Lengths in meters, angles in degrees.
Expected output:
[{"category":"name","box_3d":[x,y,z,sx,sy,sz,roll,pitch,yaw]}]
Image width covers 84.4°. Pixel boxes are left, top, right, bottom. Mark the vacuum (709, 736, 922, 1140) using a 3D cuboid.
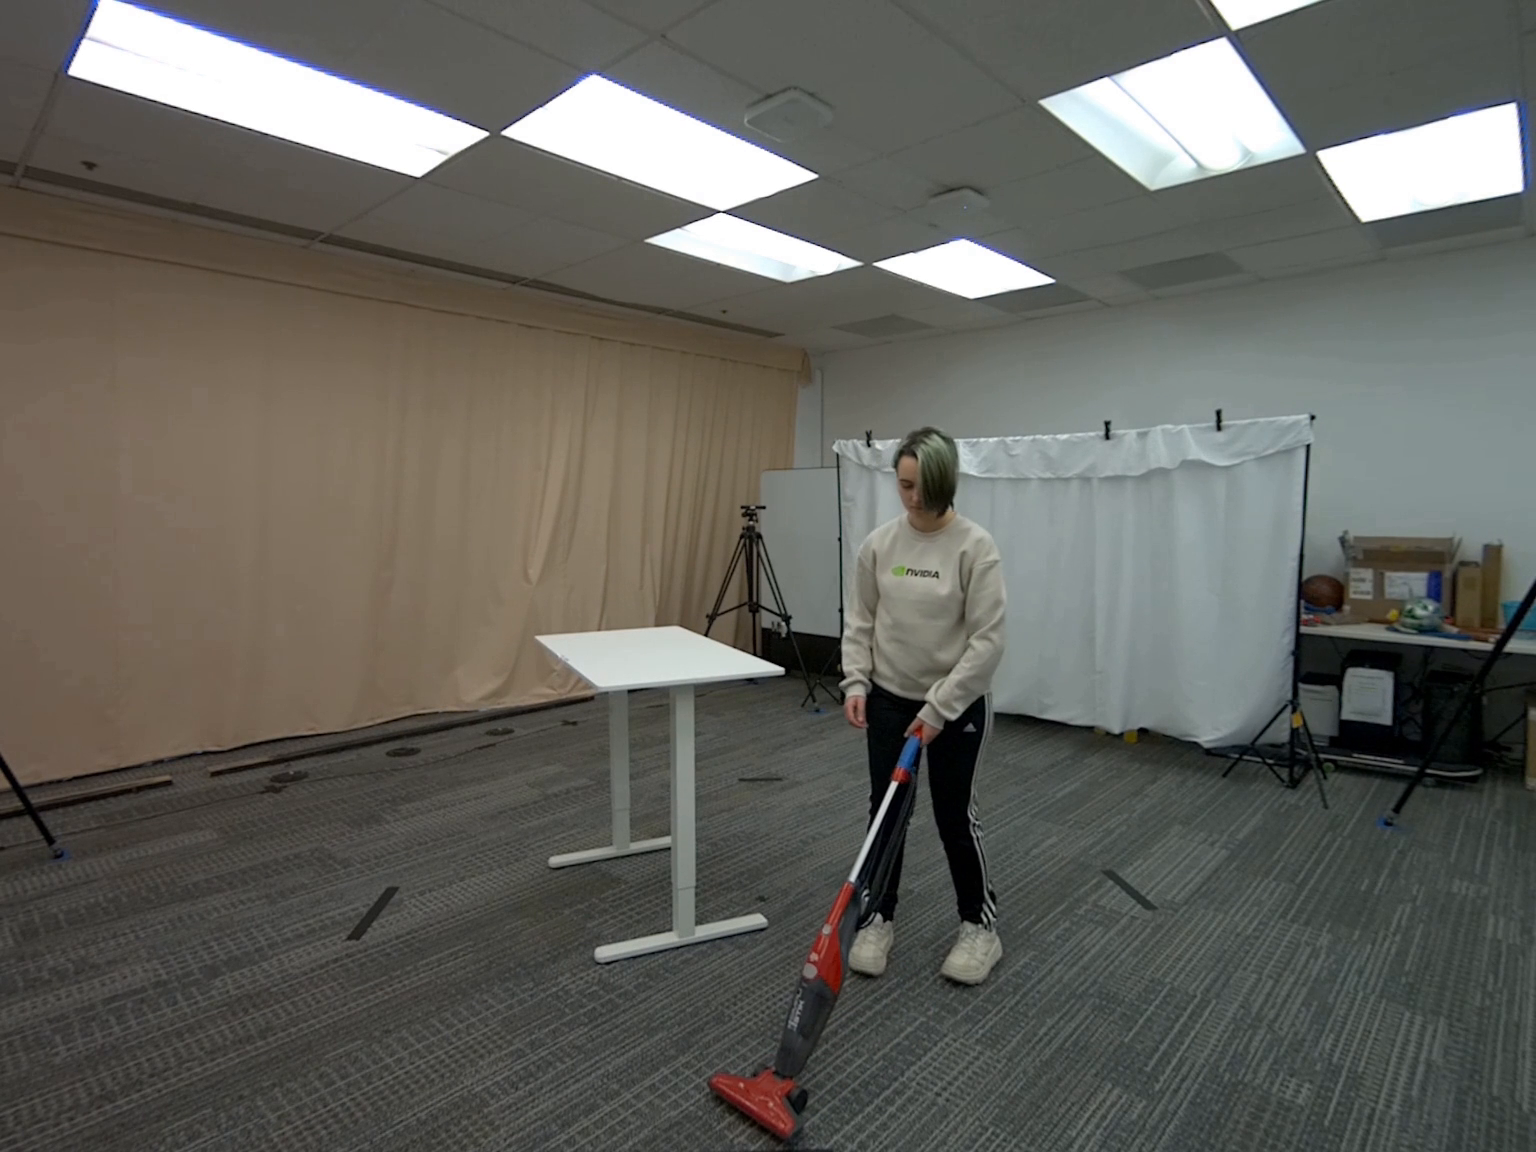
[{"category":"vacuum","box_3d":[0.240,0.826,2.173,0.261,1.047,0.139,10,-35,37]}]
